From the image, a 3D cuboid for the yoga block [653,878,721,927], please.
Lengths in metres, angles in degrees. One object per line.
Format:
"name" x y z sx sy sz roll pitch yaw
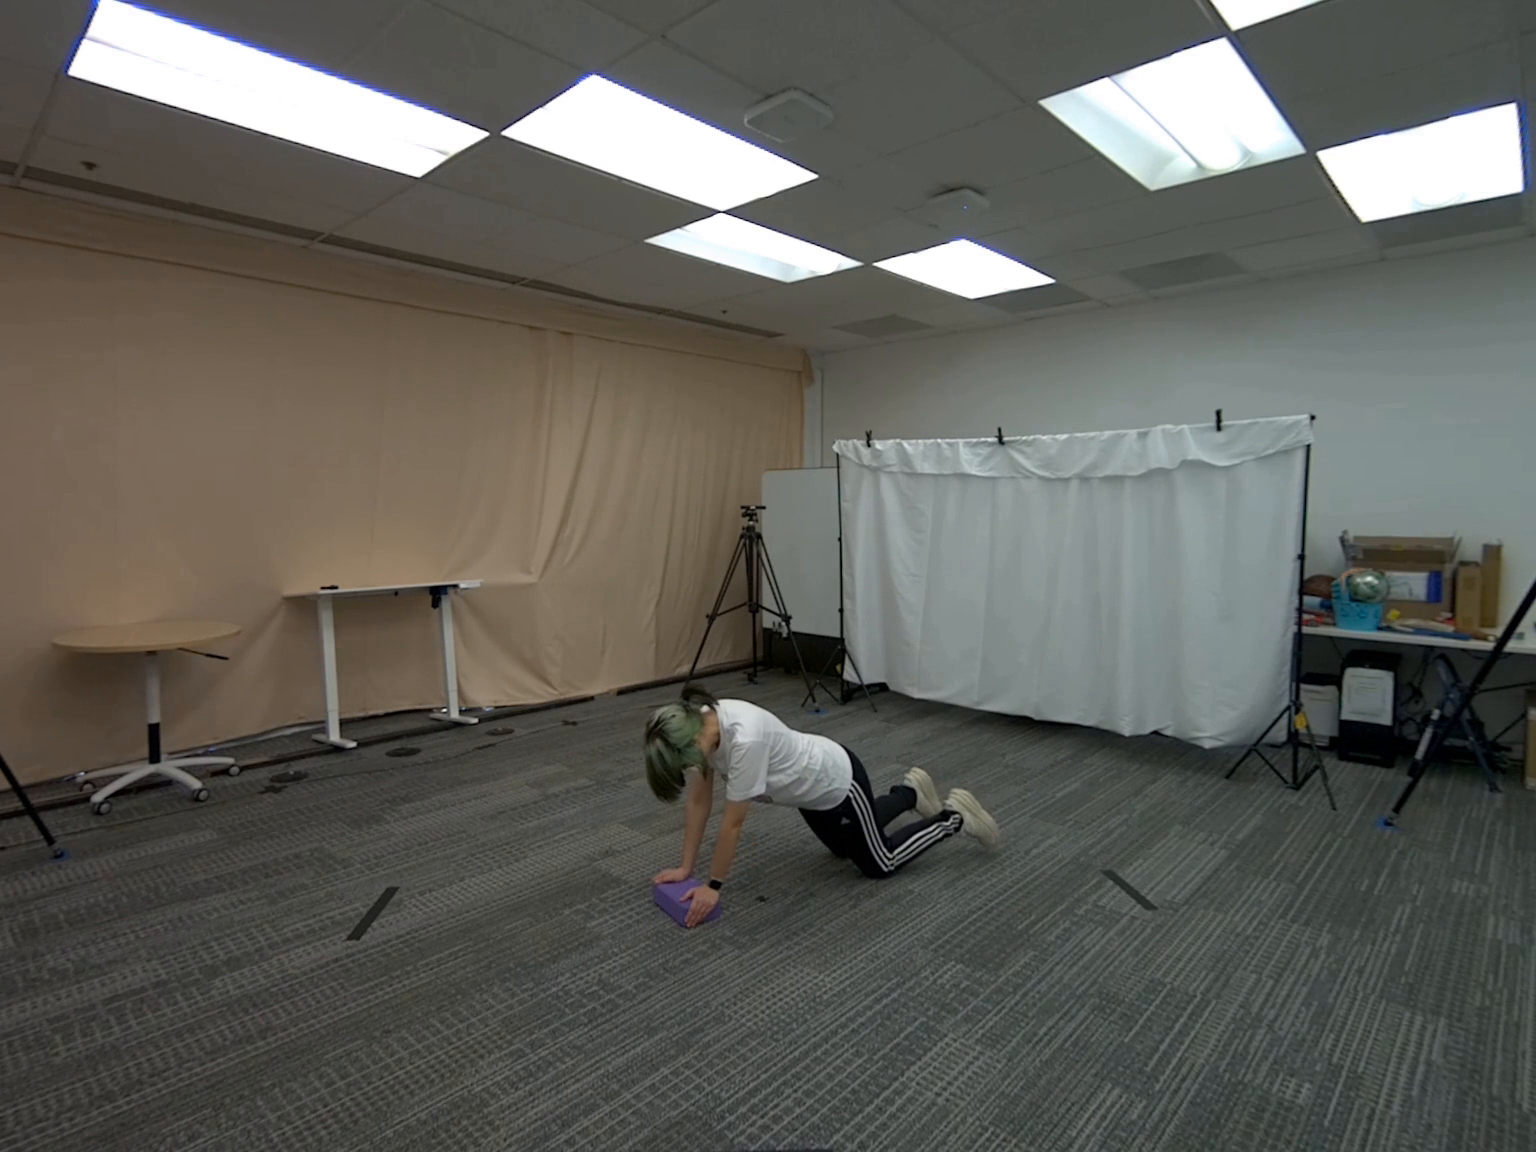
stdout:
"yoga block" -0.277 1.115 2.901 0.145 0.076 0.237 -5 7 -35
